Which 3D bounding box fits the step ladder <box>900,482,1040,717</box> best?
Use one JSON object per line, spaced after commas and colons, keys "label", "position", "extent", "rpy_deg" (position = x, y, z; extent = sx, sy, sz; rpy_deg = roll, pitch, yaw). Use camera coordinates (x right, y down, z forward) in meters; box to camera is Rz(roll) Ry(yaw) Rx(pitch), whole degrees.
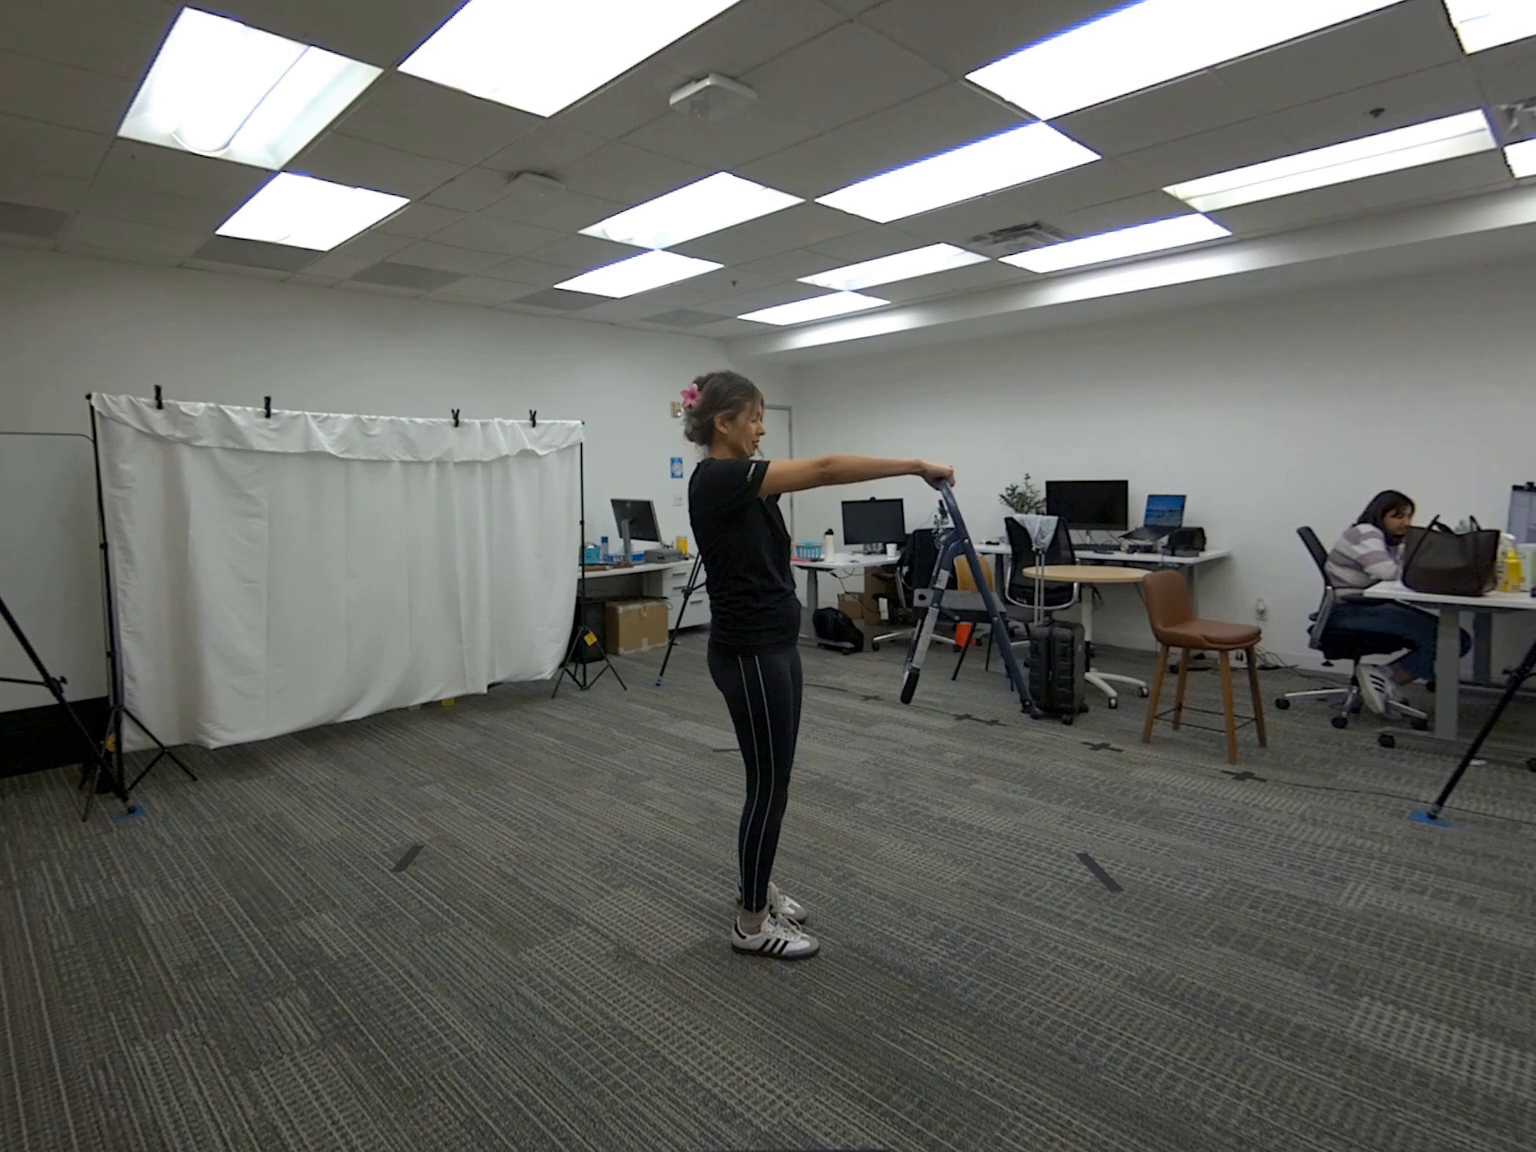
{"label": "step ladder", "position": [0.552, 0.033, 2.419], "extent": [0.353, 0.604, 0.427], "rpy_deg": [1, 4, 11]}
